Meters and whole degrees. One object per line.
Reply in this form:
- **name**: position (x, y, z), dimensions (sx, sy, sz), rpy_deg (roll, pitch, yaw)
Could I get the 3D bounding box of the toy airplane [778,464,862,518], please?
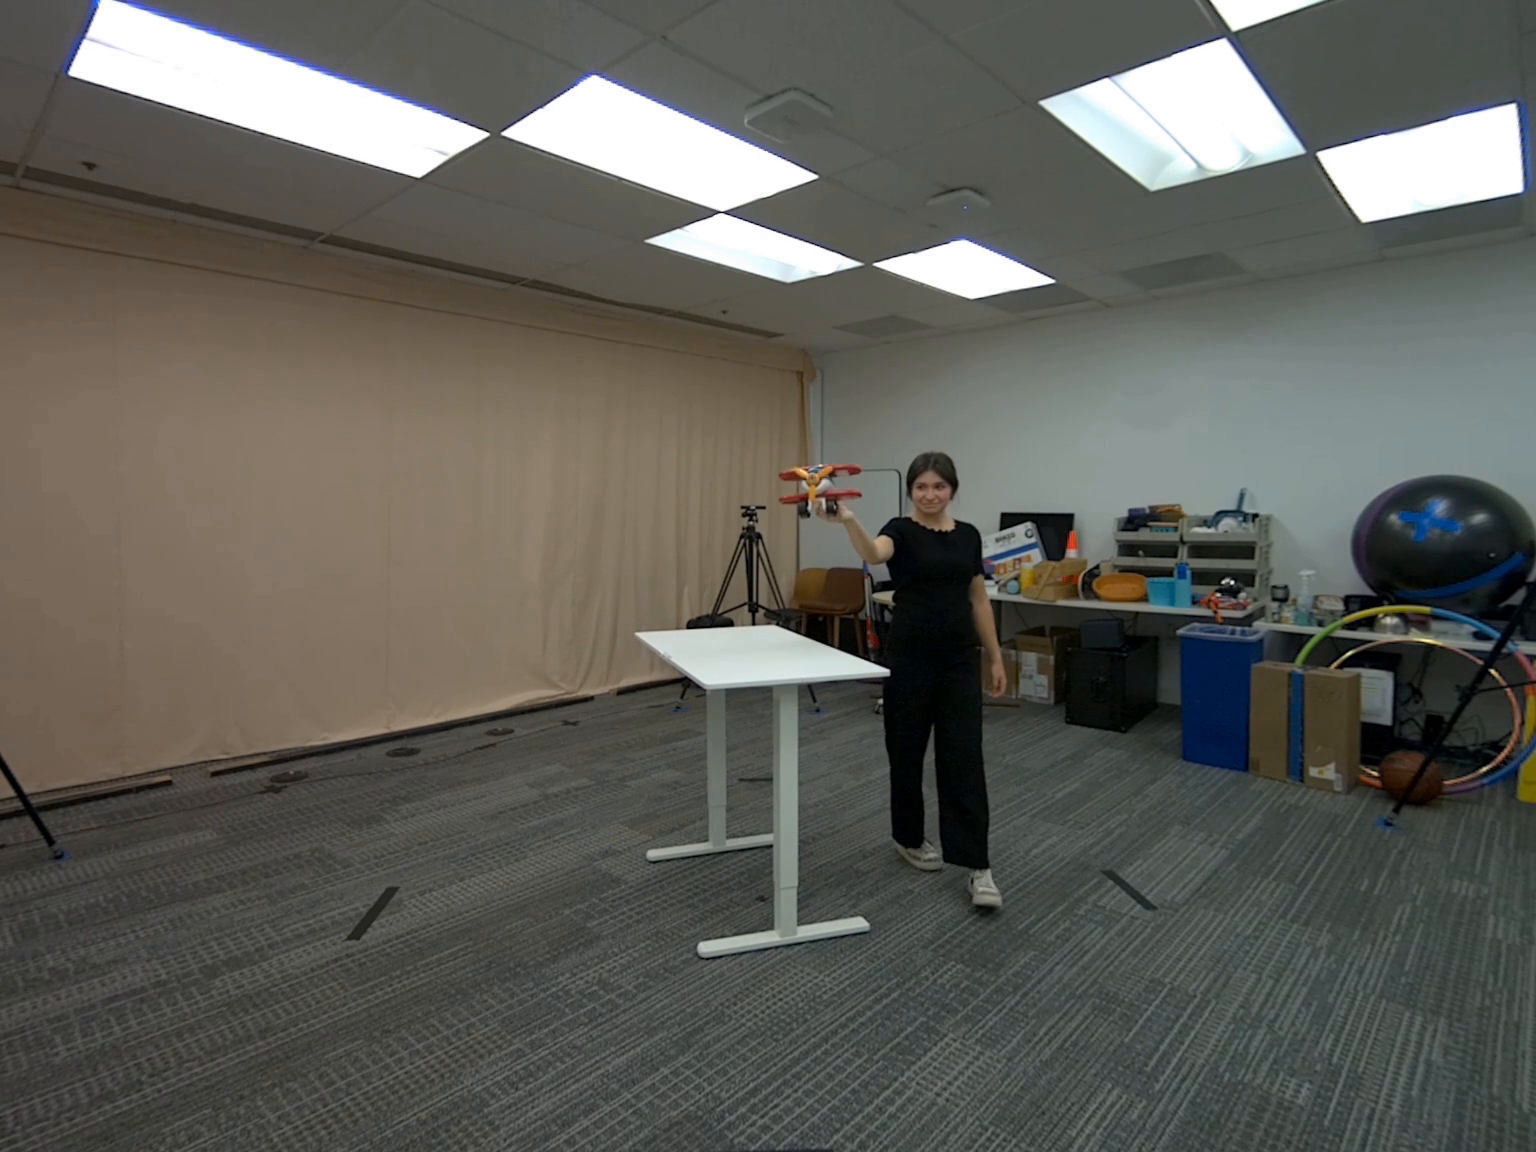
- **toy airplane**: position (0.156, -0.265, 2.636), dimensions (0.249, 0.156, 0.262), rpy_deg (-5, 5, -10)
